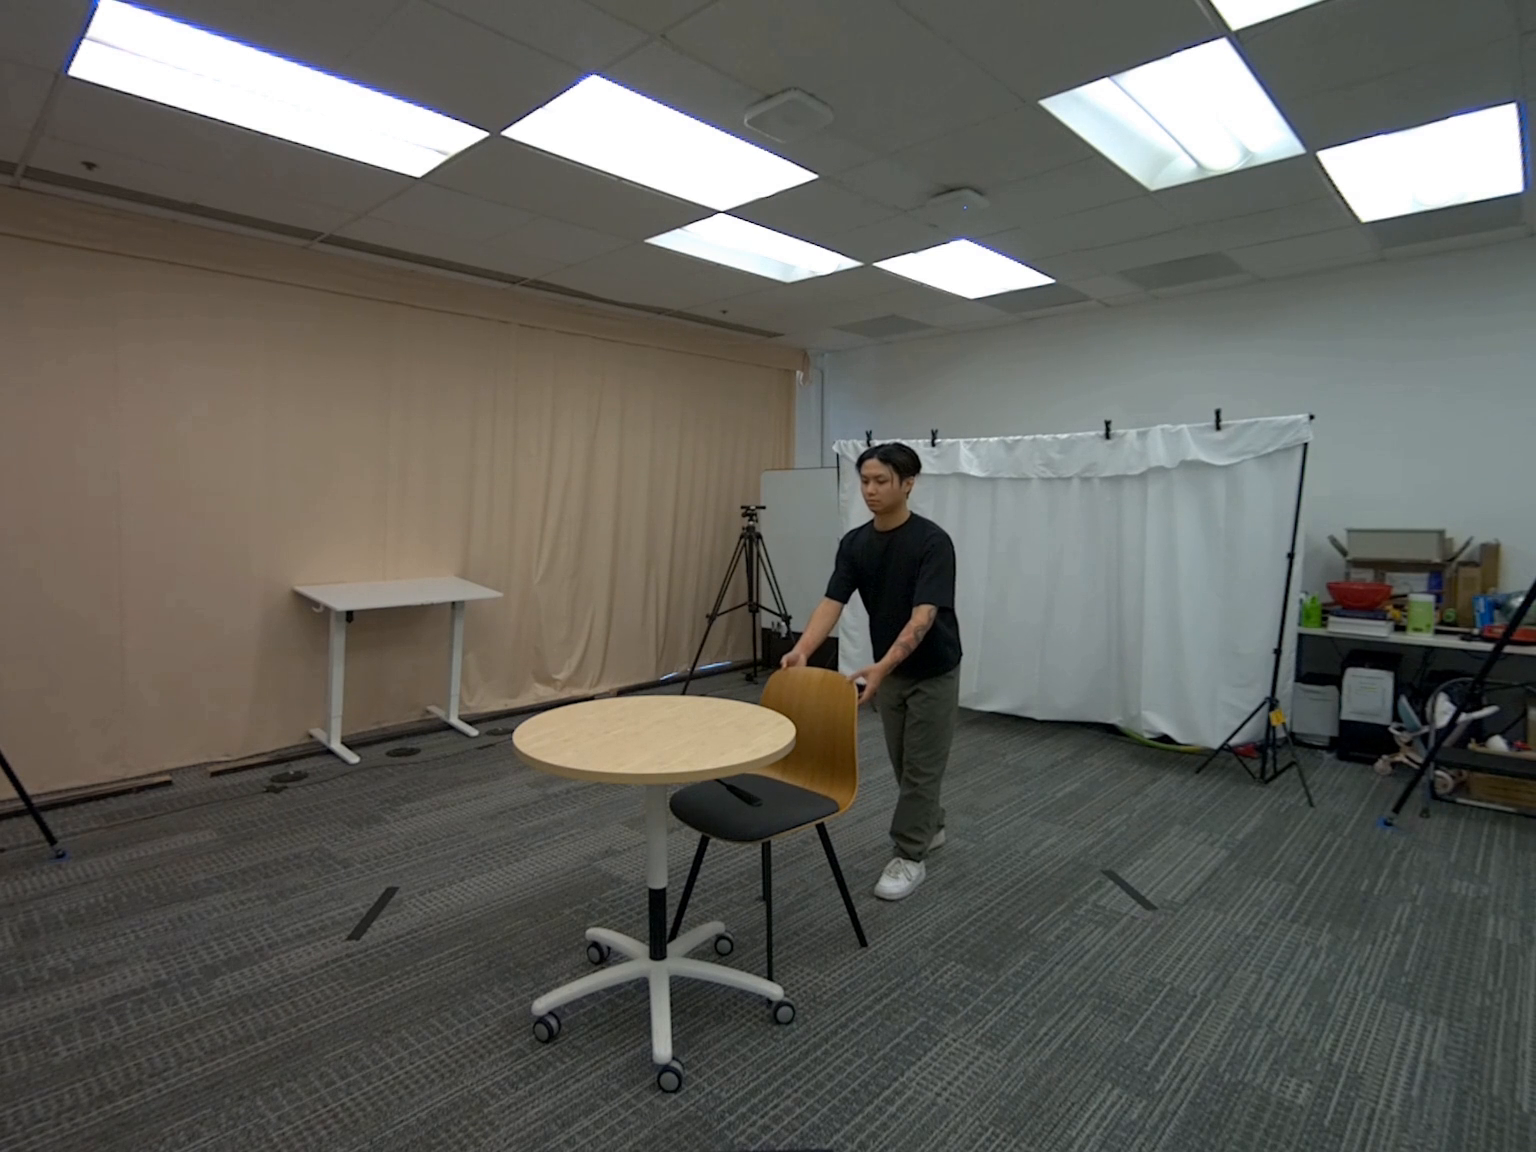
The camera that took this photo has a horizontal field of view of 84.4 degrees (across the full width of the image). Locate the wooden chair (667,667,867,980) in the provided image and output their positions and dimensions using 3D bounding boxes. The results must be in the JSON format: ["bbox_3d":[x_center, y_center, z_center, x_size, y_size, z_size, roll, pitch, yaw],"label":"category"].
[{"bbox_3d":[-0.003,0.747,2.633,0.506,0.877,0.494,2,1,-45],"label":"wooden chair"}]
